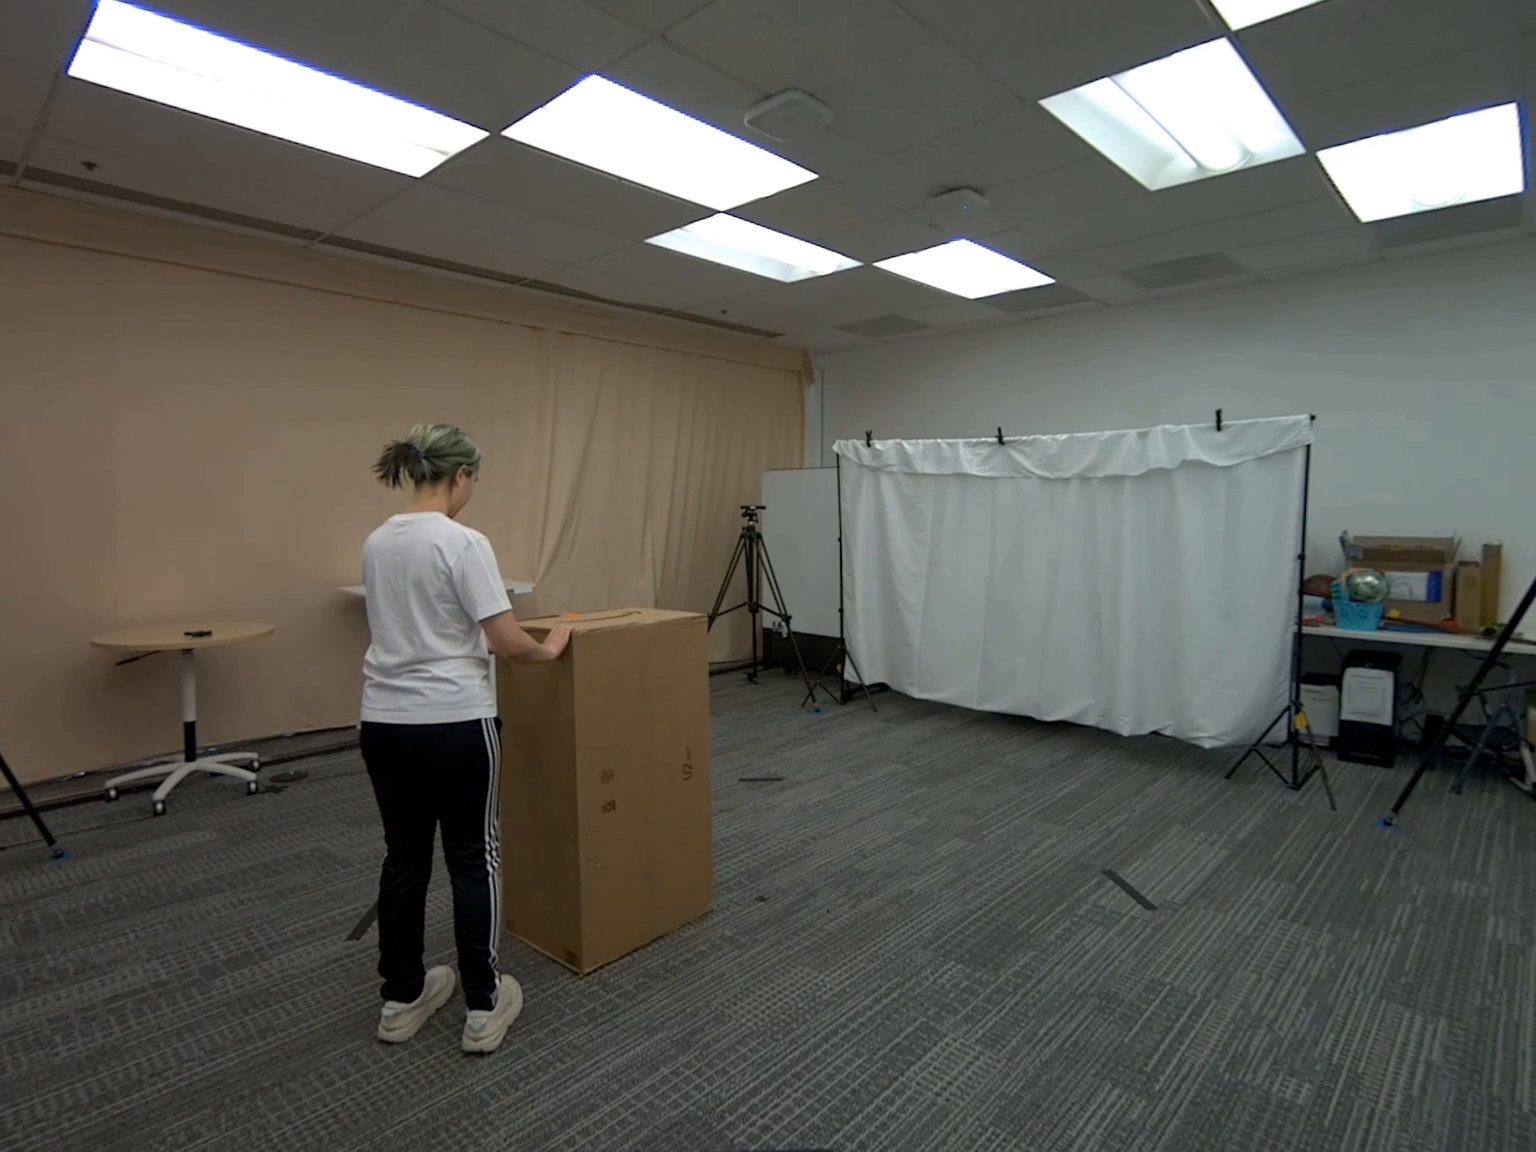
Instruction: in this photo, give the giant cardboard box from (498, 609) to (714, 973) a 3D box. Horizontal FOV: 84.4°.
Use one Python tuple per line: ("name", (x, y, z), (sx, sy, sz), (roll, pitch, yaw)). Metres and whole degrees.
("giant cardboard box", (-0.539, 0.654, 2.821), (0.461, 1.025, 0.566), (2, 4, 41))
